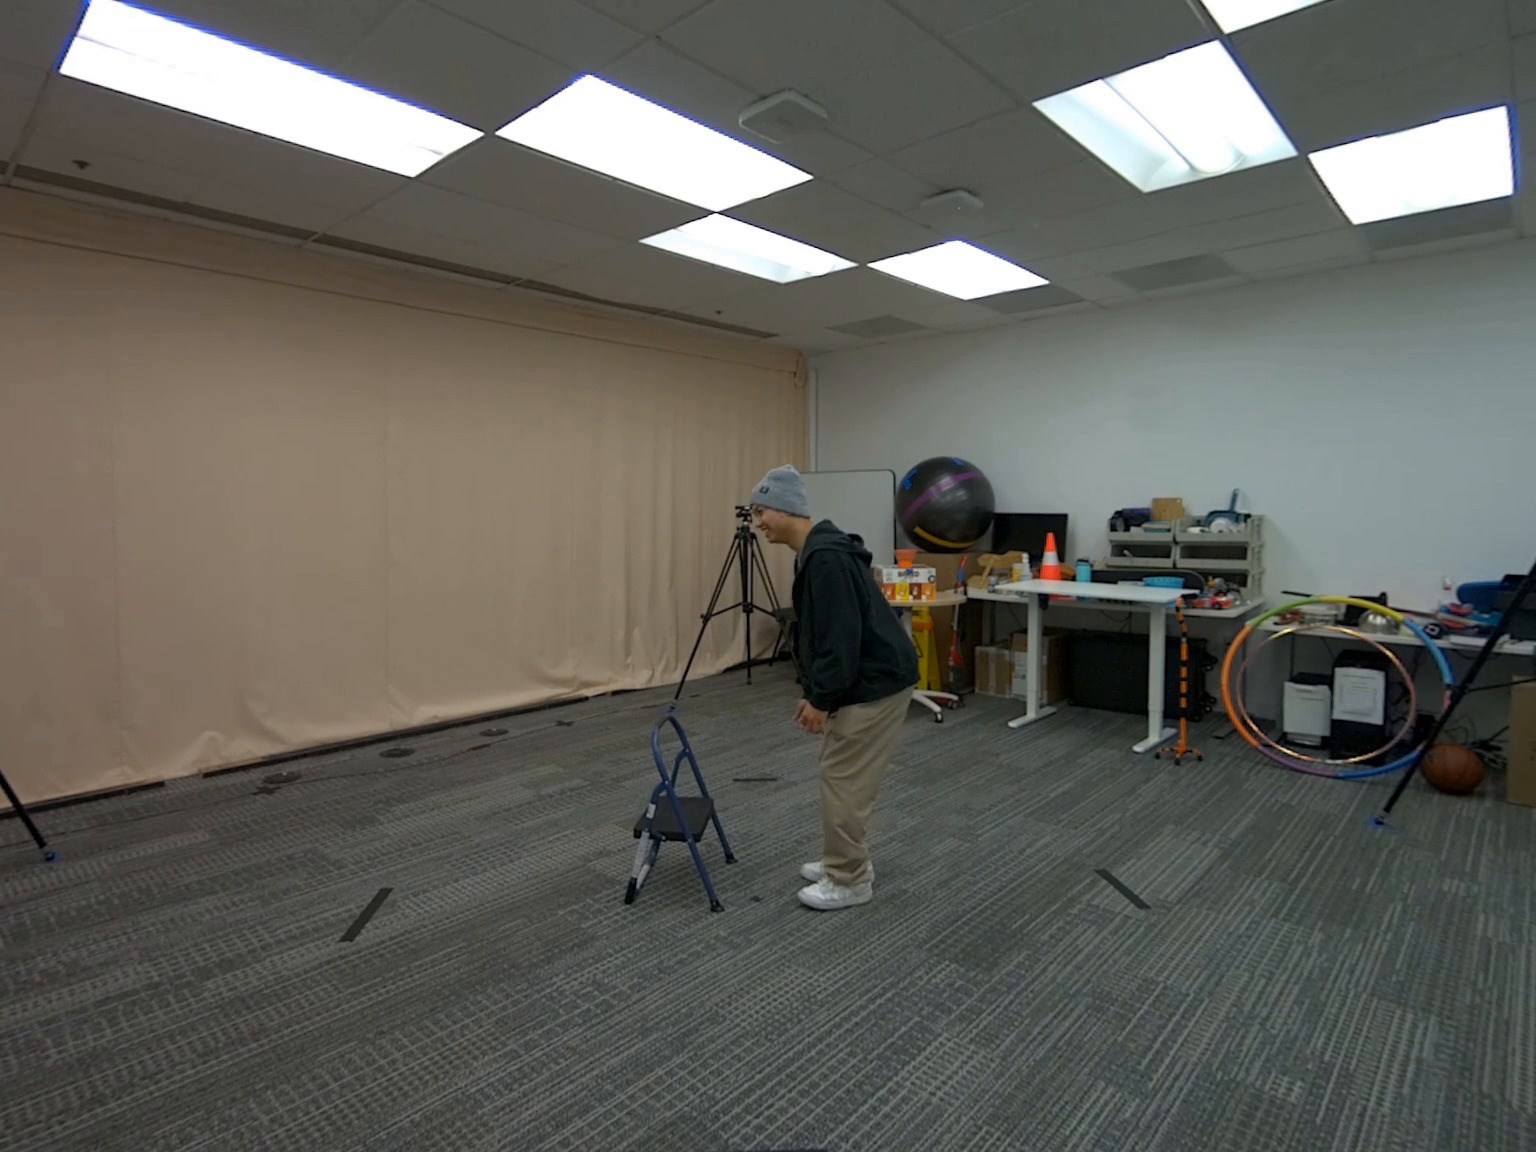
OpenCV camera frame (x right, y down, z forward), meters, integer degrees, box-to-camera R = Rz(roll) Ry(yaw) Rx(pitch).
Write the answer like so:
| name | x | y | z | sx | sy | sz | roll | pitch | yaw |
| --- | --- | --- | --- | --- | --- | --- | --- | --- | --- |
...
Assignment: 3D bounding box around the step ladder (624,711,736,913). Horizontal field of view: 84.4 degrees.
| name | x | y | z | sx | sy | sz | roll | pitch | yaw |
| --- | --- | --- | --- | --- | --- | --- | --- | --- | --- |
| step ladder | -0.318 | 0.840 | 3.111 | 0.352 | 0.605 | 0.428 | 0 | 4 | 6 |
